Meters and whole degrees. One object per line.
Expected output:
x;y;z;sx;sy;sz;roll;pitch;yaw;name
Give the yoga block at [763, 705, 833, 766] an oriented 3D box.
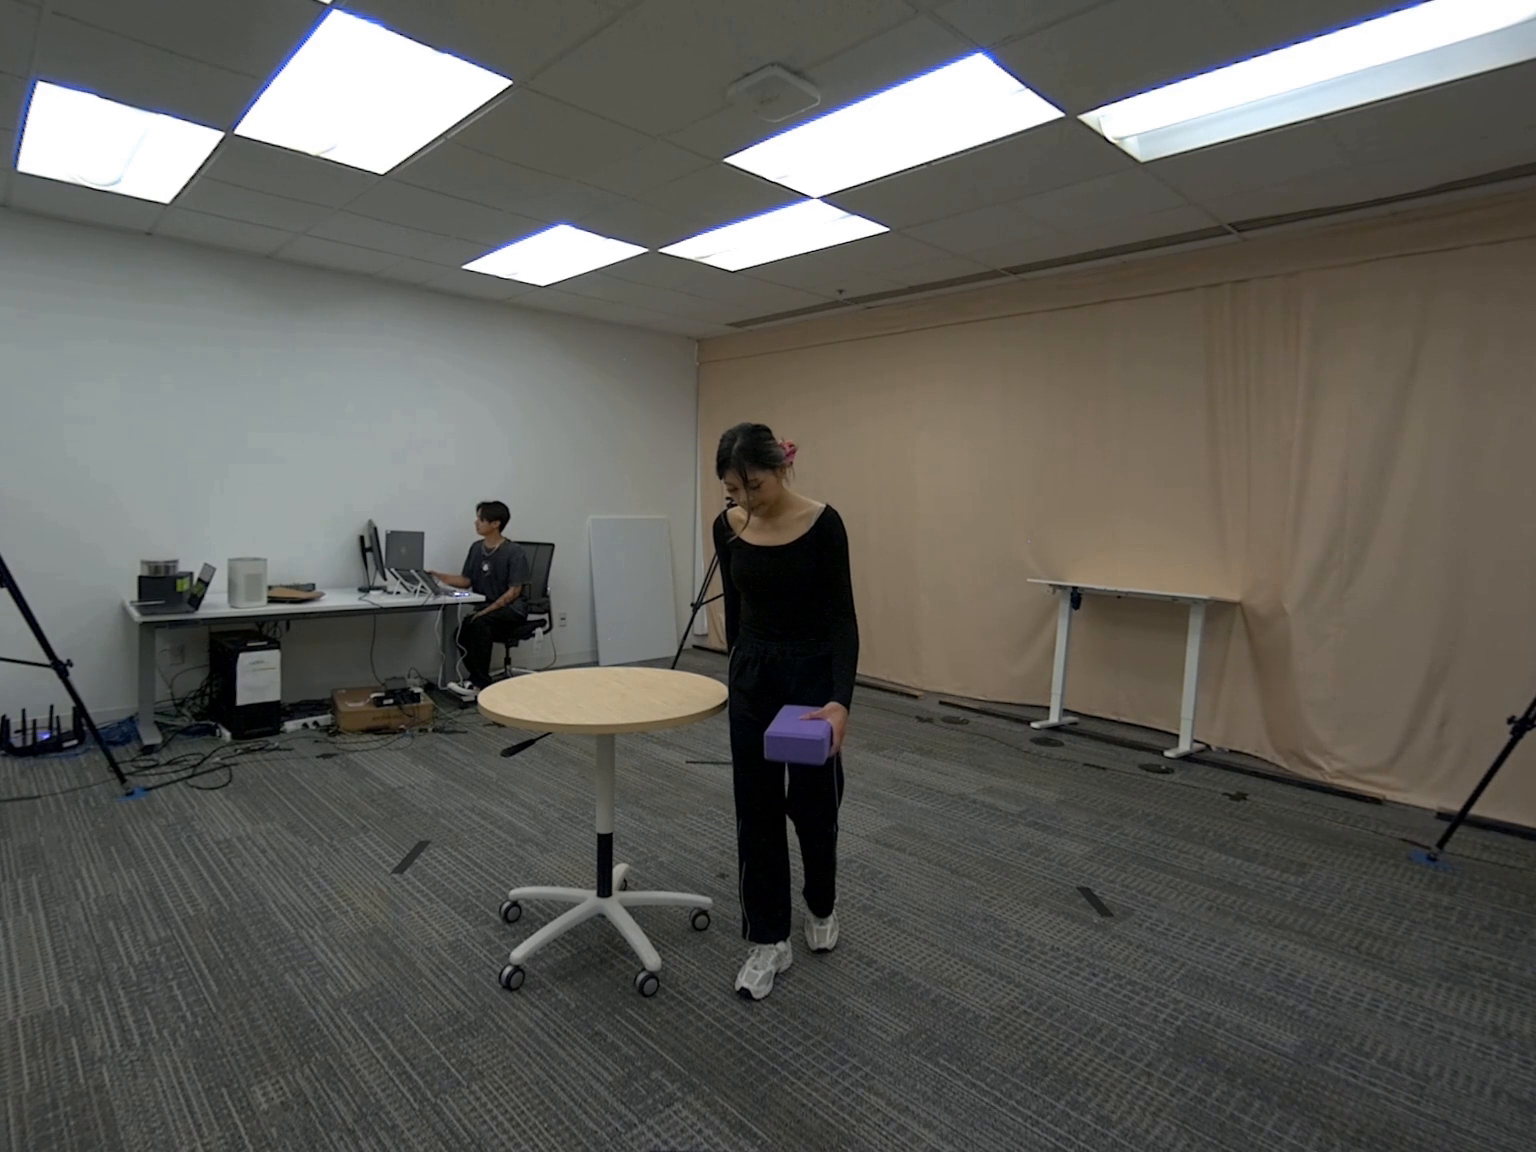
0.085;0.402;2.098;0.151;0.076;0.227;3;8;18;yoga block
